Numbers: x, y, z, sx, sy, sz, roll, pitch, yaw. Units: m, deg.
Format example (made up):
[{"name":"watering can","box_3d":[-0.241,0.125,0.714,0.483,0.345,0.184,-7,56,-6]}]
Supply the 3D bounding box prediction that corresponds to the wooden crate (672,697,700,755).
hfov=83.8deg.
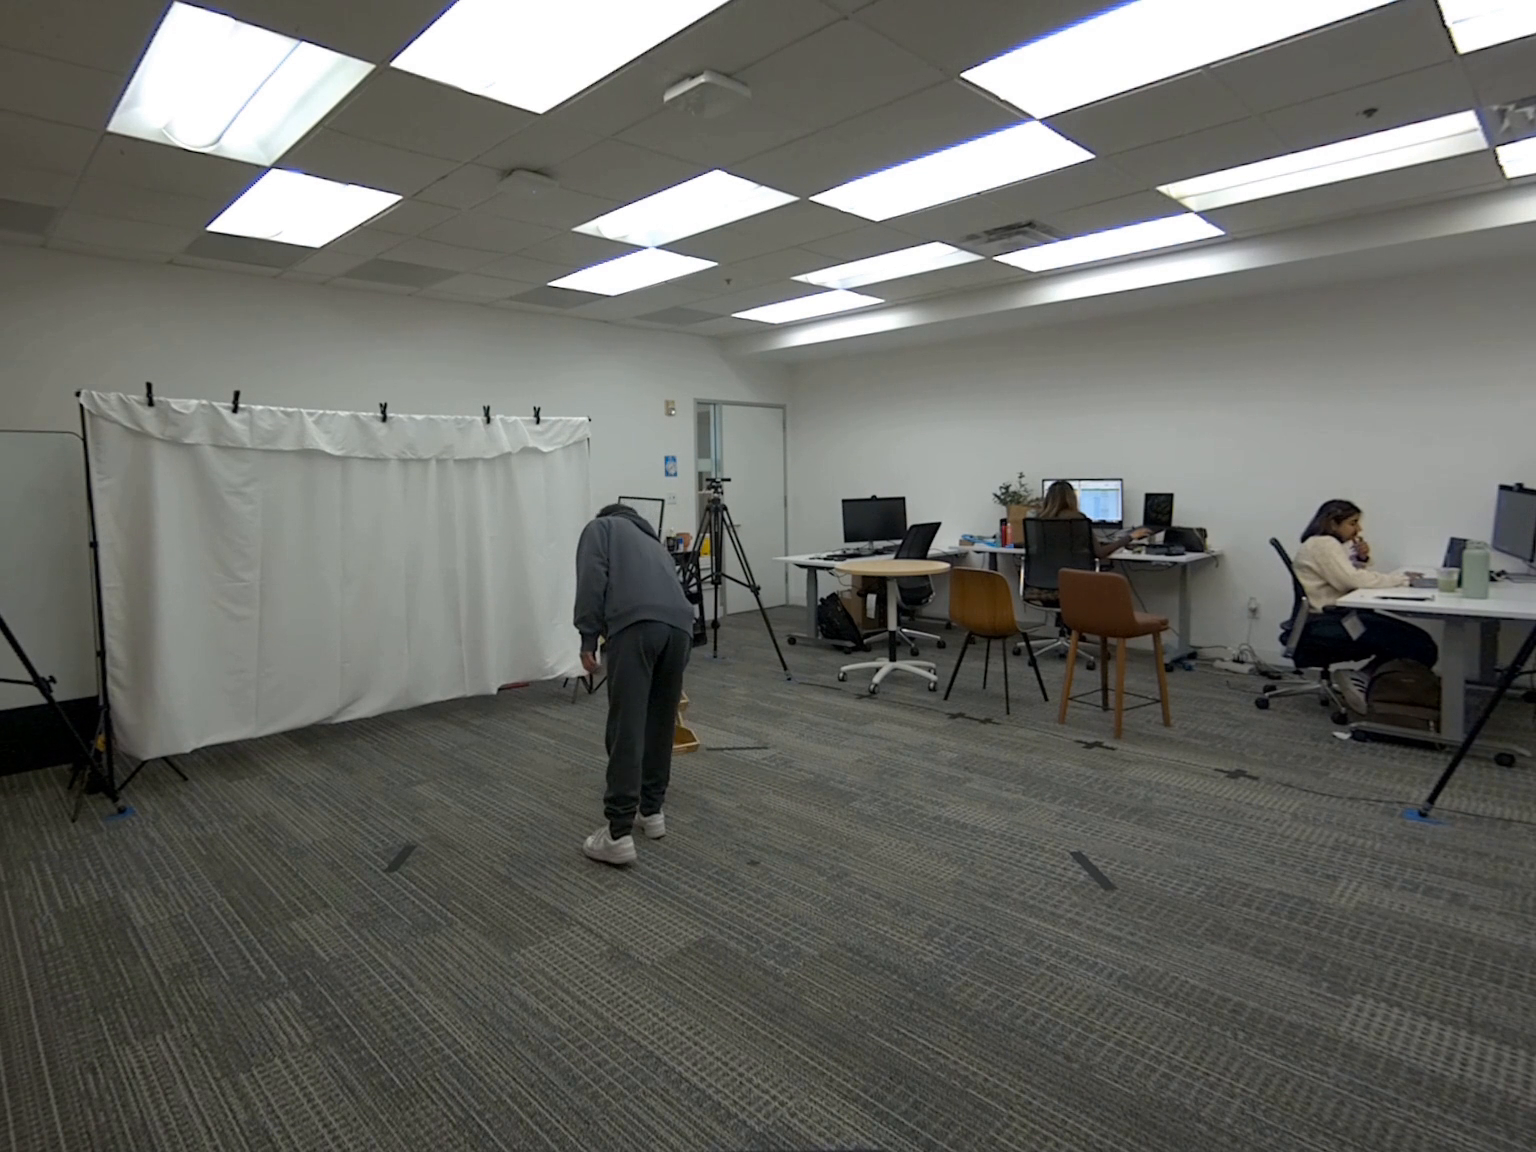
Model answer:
[{"name":"wooden crate","box_3d":[-0.506,0.643,3.831,0.315,0.273,0.311,0,4,-42]}]
